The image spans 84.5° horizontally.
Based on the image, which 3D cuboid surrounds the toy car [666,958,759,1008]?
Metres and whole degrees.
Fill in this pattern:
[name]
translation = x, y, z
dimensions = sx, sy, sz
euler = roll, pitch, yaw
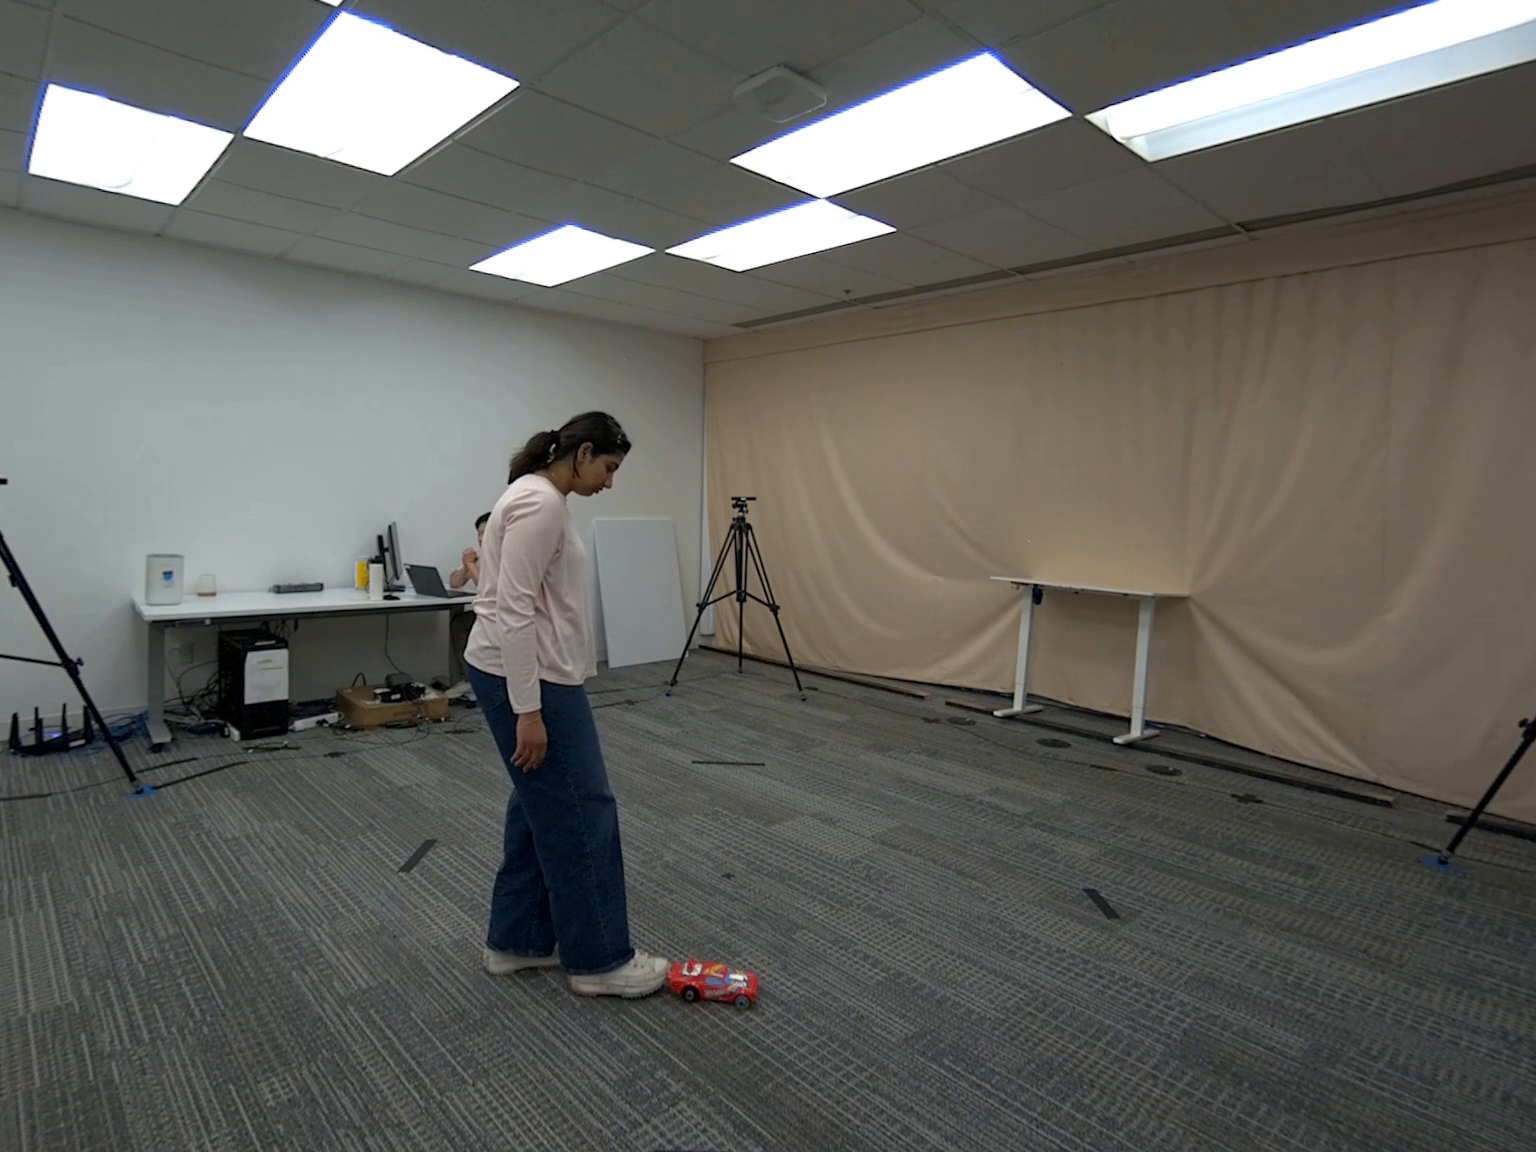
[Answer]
[toy car]
translation = -0.162, 1.146, 2.348
dimensions = 0.256, 0.083, 0.130
euler = 14, 6, 7
